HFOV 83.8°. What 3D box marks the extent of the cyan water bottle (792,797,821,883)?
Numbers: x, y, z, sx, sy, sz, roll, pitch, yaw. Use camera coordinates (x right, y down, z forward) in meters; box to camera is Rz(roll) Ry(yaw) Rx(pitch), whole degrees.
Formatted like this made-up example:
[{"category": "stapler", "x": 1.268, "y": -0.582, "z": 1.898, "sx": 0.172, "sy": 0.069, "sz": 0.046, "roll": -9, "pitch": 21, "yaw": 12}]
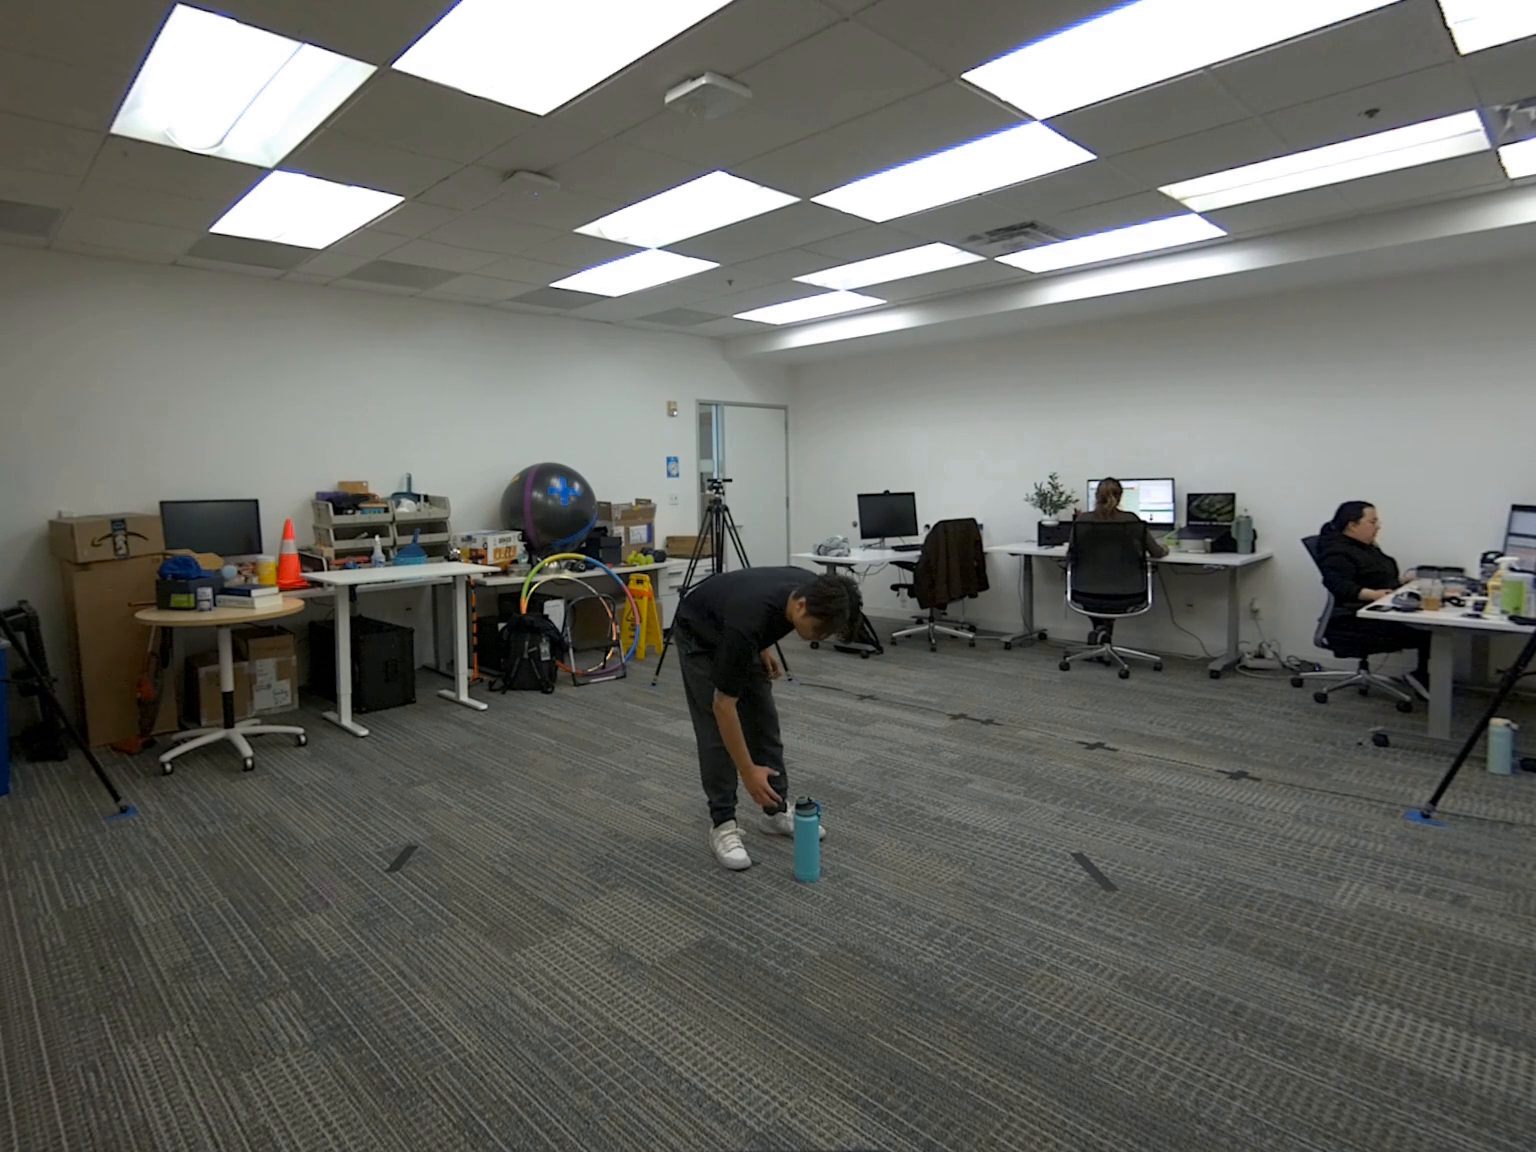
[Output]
[{"category": "cyan water bottle", "x": 0.139, "y": 0.913, "z": 2.994, "sx": 0.092, "sy": 0.282, "sz": 0.092, "roll": -2, "pitch": 3, "yaw": -2}]
